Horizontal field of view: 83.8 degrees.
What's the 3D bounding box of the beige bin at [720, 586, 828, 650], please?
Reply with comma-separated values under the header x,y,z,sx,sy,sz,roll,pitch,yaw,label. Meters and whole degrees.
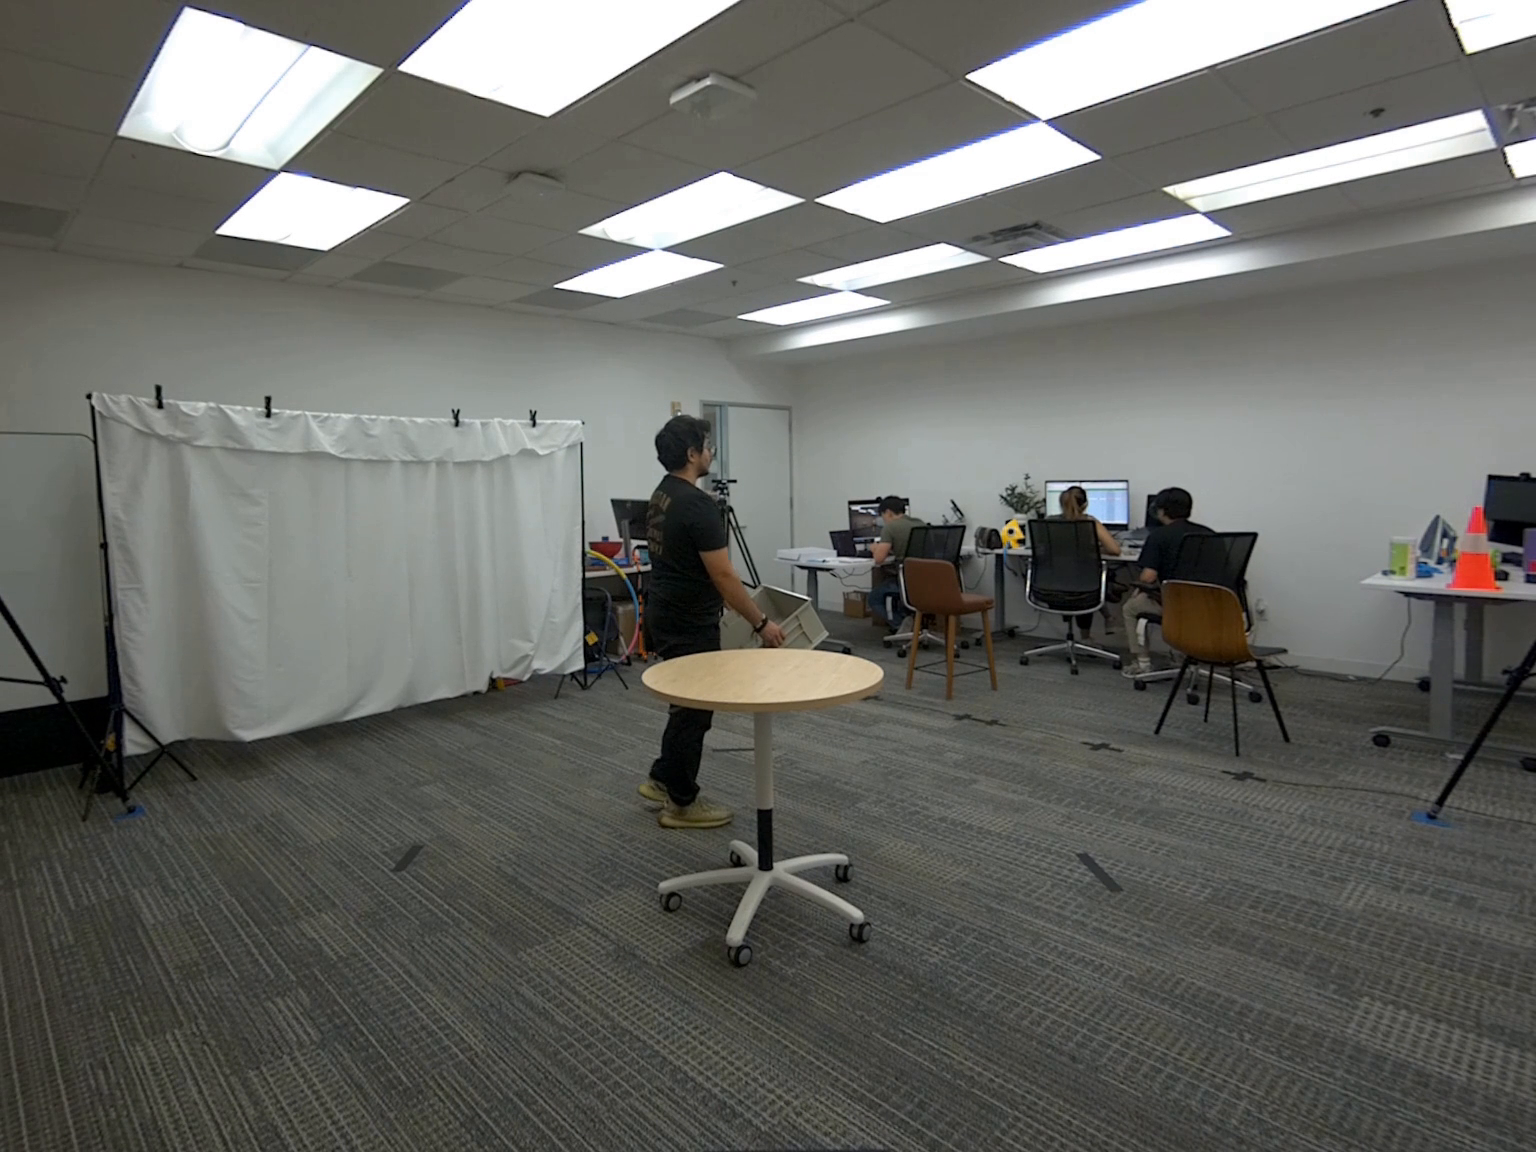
x,y,z,sx,sy,sz,roll,pitch,yaw,label
-0.019,0.247,3.602,0.376,0.184,0.434,-39,23,-18,beige bin
